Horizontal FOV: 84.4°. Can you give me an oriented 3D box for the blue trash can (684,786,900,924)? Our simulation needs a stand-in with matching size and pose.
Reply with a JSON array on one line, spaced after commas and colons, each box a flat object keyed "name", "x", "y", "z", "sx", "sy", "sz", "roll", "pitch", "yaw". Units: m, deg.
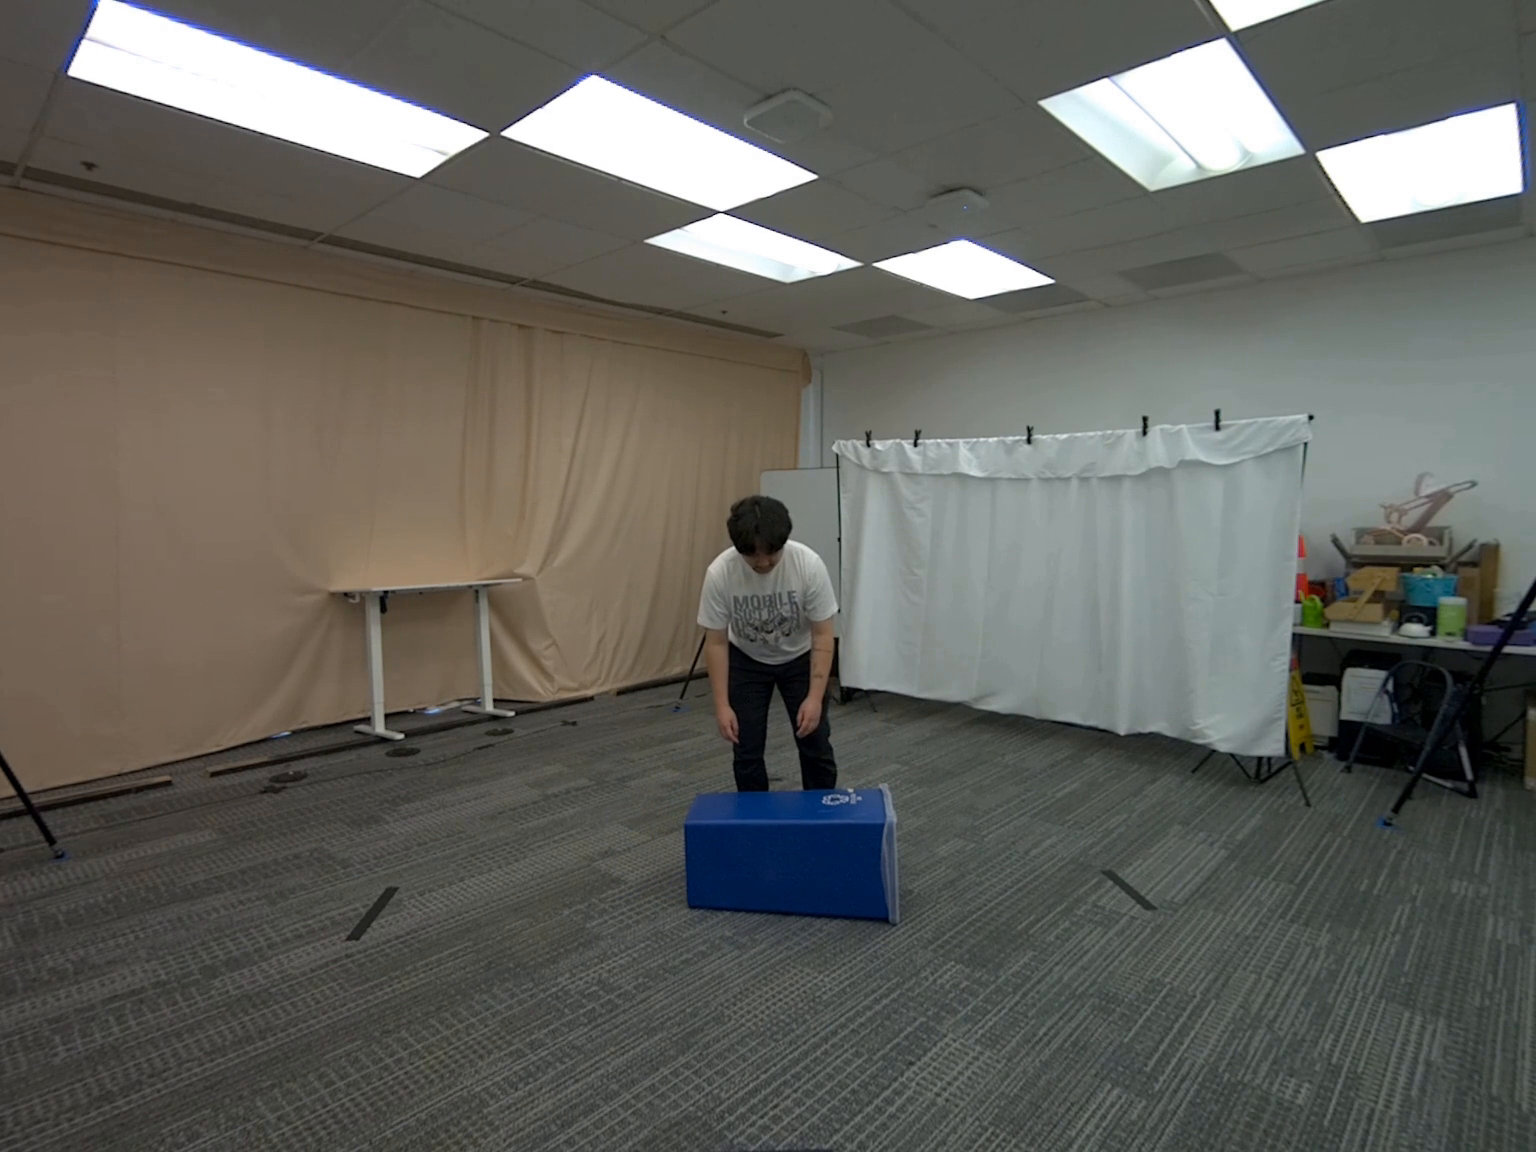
[{"name": "blue trash can", "x": 0.089, "y": 0.976, "z": 2.992, "sx": 0.719, "sy": 0.377, "sz": 0.372, "roll": -3, "pitch": 4, "yaw": 6}]
